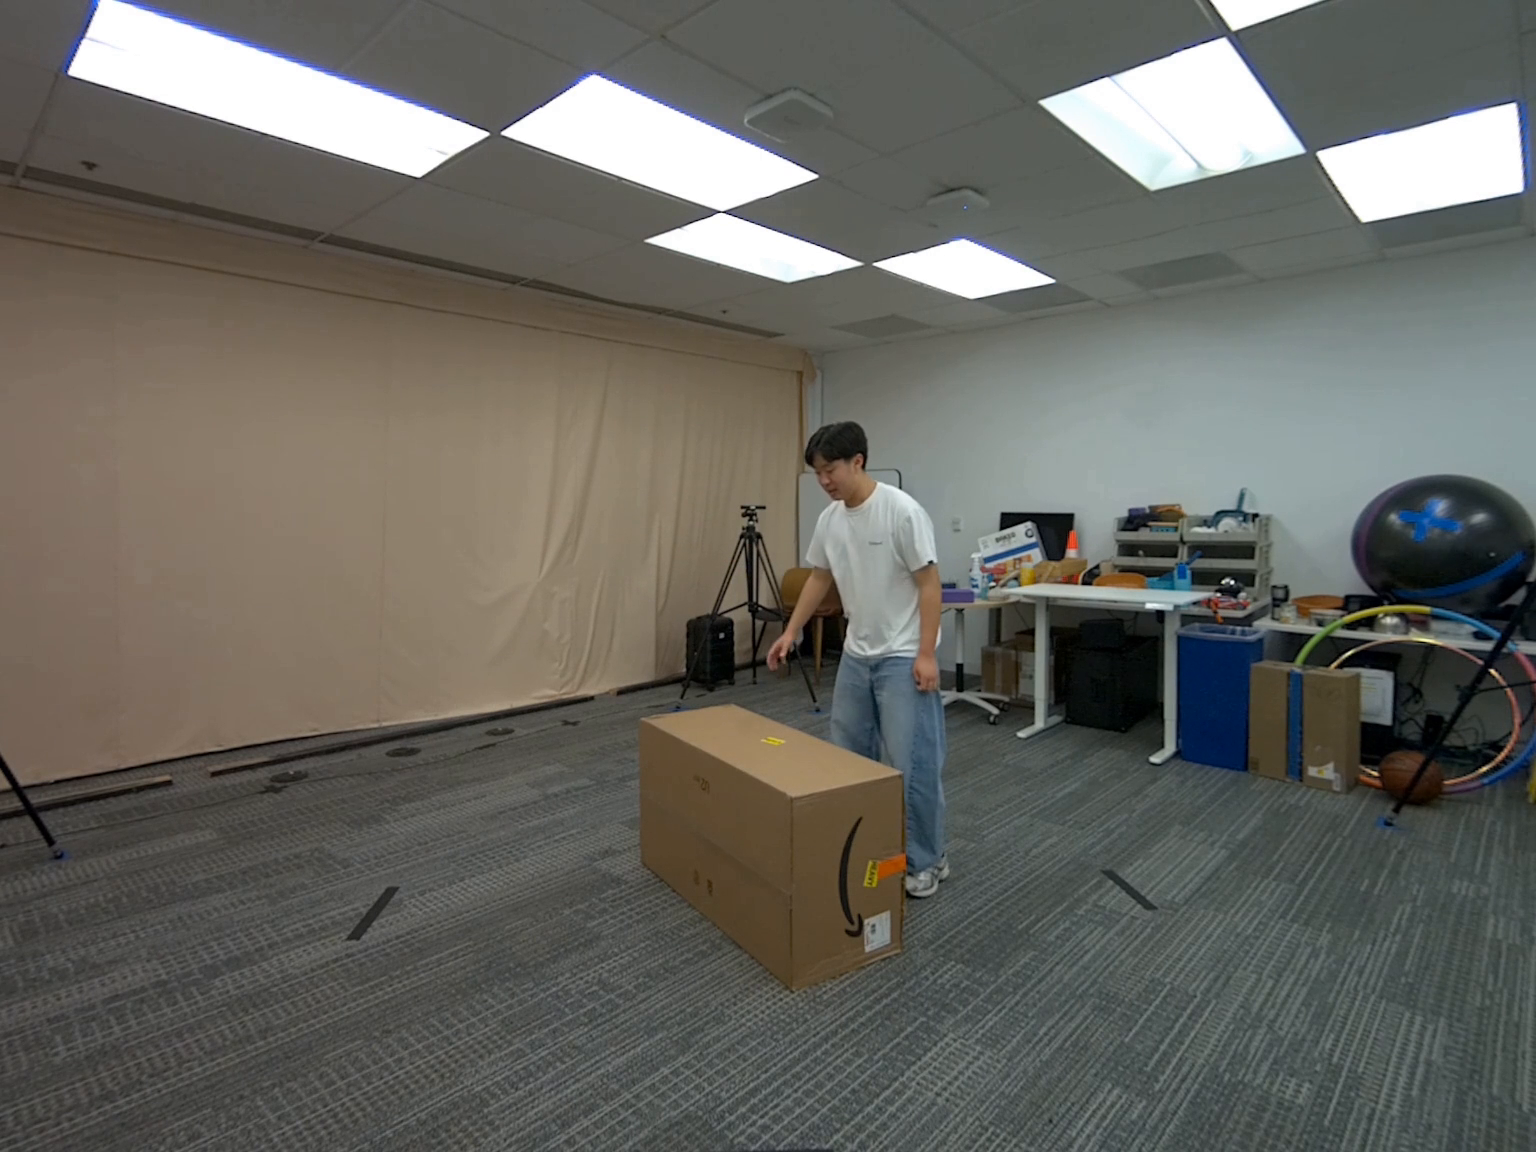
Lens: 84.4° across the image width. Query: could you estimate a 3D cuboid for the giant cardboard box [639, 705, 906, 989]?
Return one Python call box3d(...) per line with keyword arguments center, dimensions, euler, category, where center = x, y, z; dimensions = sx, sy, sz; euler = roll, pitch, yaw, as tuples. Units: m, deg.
box3d(center=(-0.038, 0.860, 2.937), dimensions=(0.414, 0.576, 1.057), euler=(-2, 5, -32), category="giant cardboard box")
